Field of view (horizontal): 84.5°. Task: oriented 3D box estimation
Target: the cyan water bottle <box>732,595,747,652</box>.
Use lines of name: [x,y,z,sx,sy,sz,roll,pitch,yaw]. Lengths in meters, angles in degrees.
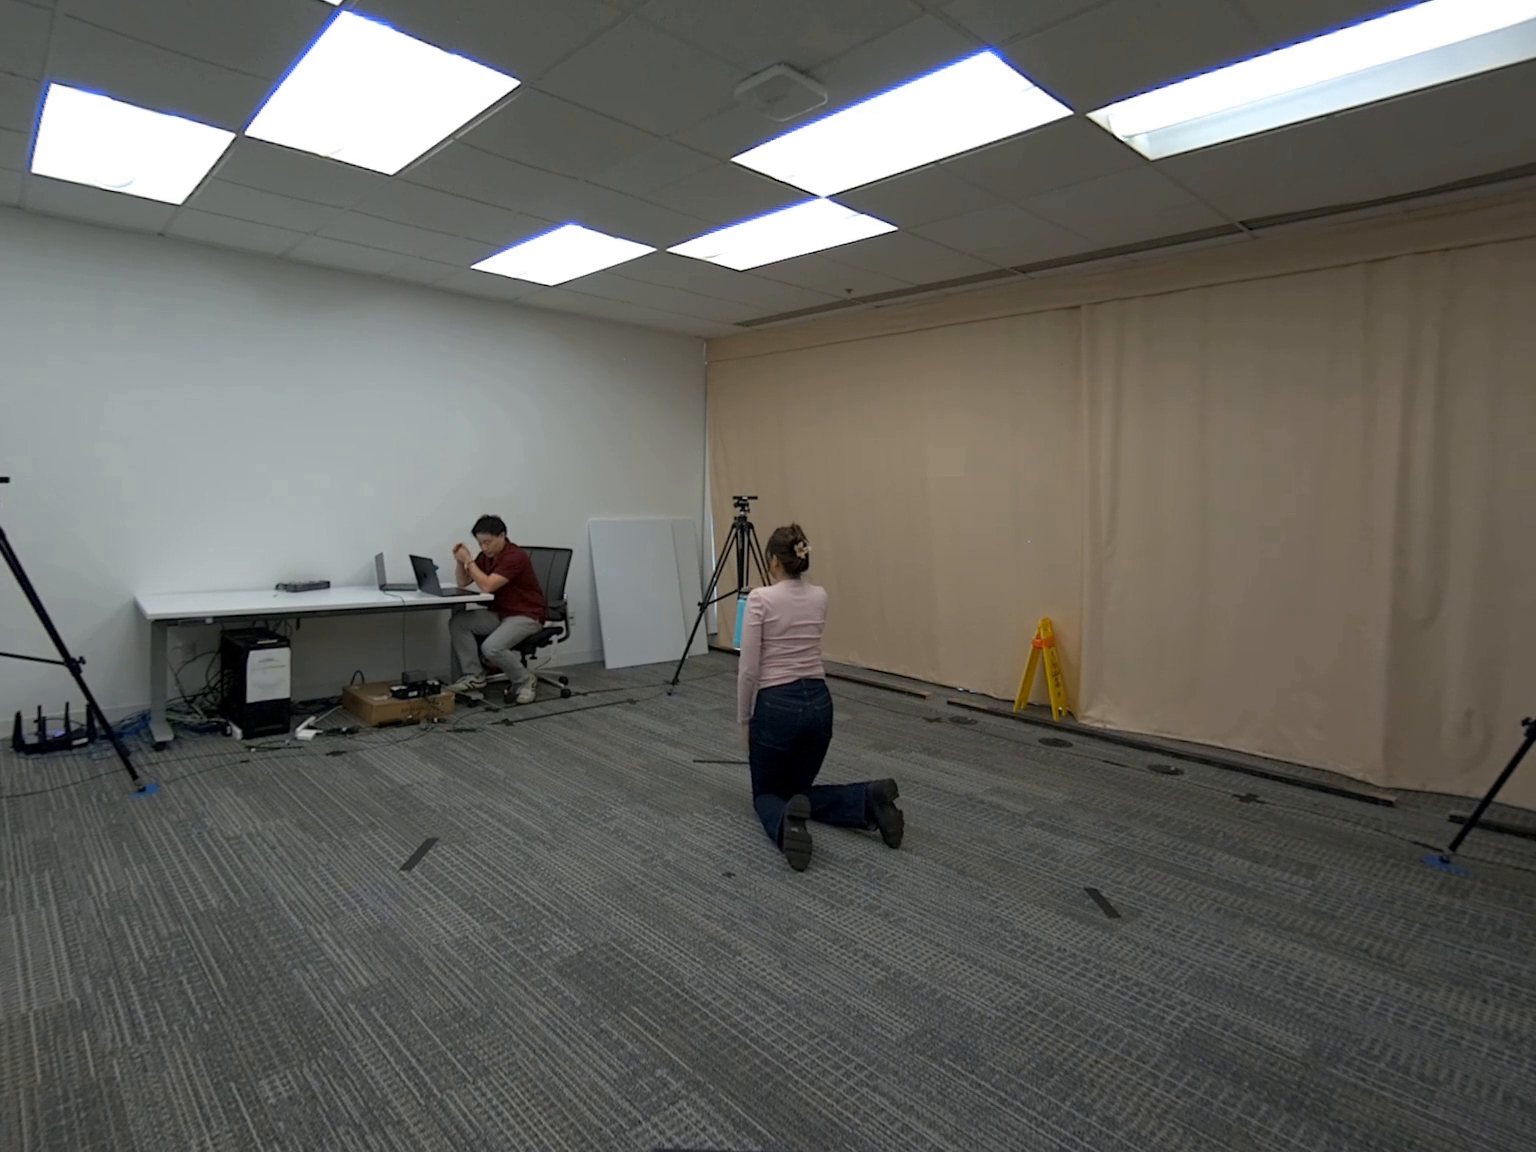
cyan water bottle: [-0.104,0.207,4.086,0.092,0.283,0.092,5,0,-1]
